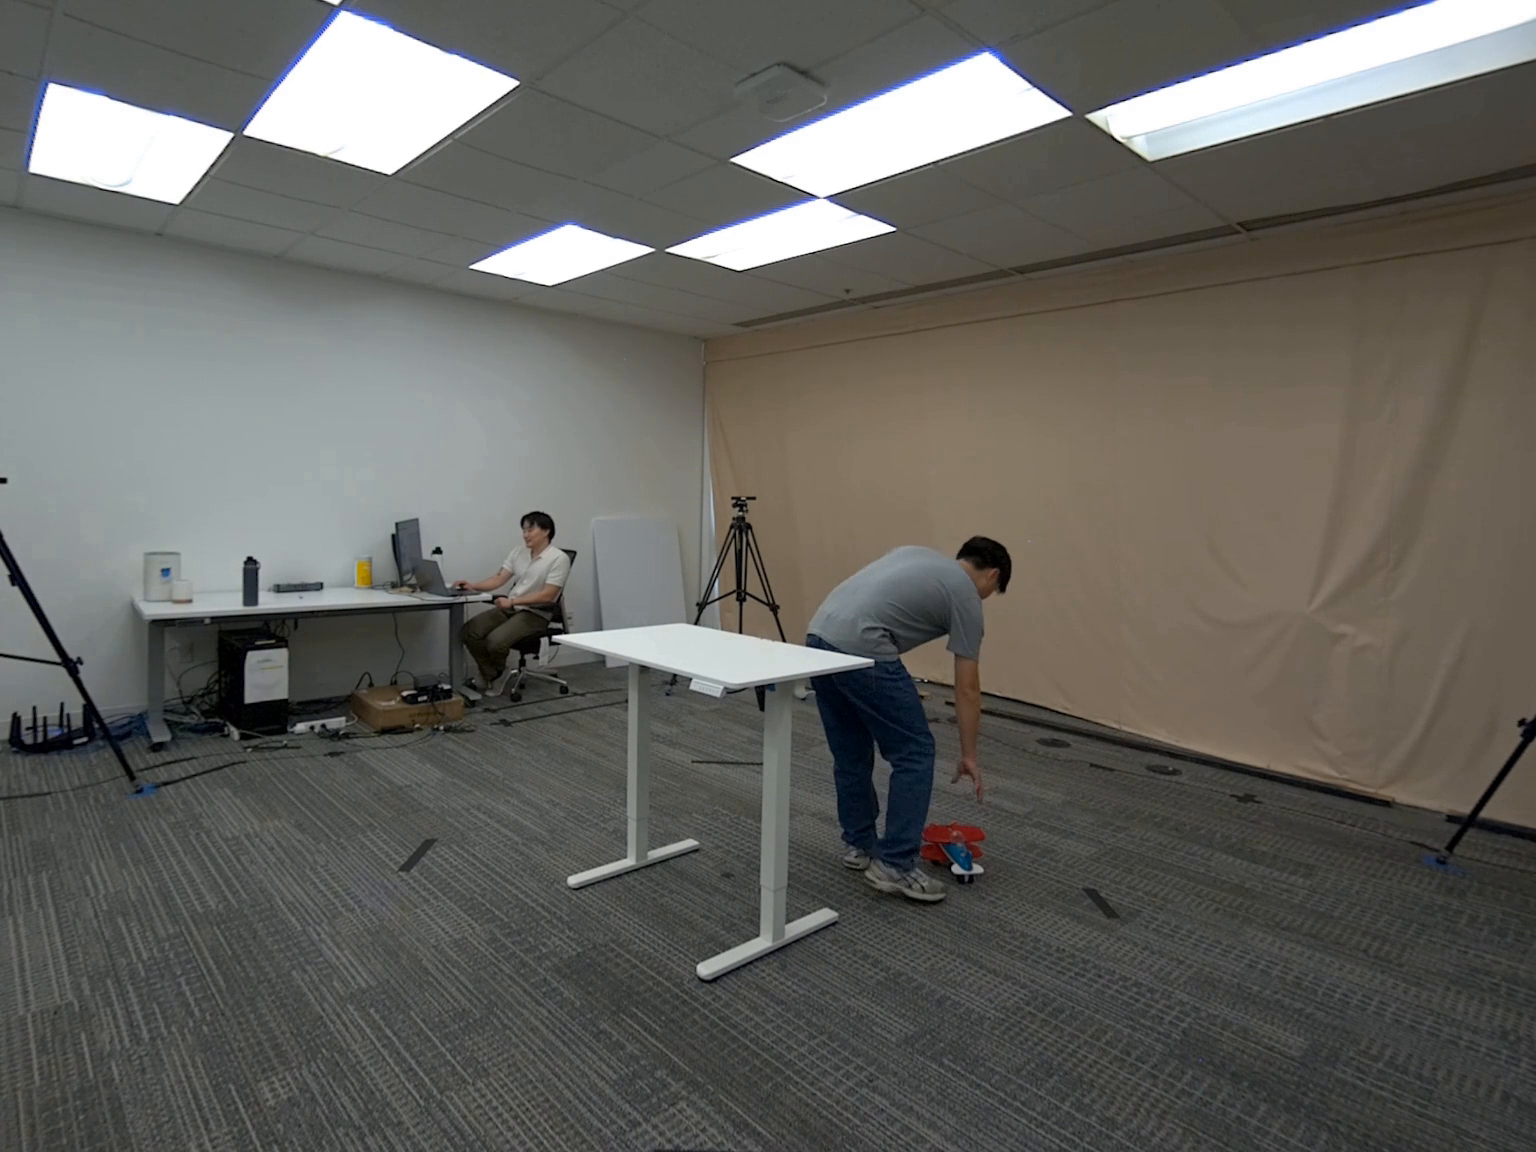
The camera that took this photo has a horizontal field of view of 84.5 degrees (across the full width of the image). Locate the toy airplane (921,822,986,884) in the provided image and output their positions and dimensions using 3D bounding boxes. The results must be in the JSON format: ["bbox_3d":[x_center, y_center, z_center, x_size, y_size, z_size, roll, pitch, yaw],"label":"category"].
[{"bbox_3d":[0.706,1.046,3.191,0.245,0.156,0.266,-2,5,-39],"label":"toy airplane"}]
